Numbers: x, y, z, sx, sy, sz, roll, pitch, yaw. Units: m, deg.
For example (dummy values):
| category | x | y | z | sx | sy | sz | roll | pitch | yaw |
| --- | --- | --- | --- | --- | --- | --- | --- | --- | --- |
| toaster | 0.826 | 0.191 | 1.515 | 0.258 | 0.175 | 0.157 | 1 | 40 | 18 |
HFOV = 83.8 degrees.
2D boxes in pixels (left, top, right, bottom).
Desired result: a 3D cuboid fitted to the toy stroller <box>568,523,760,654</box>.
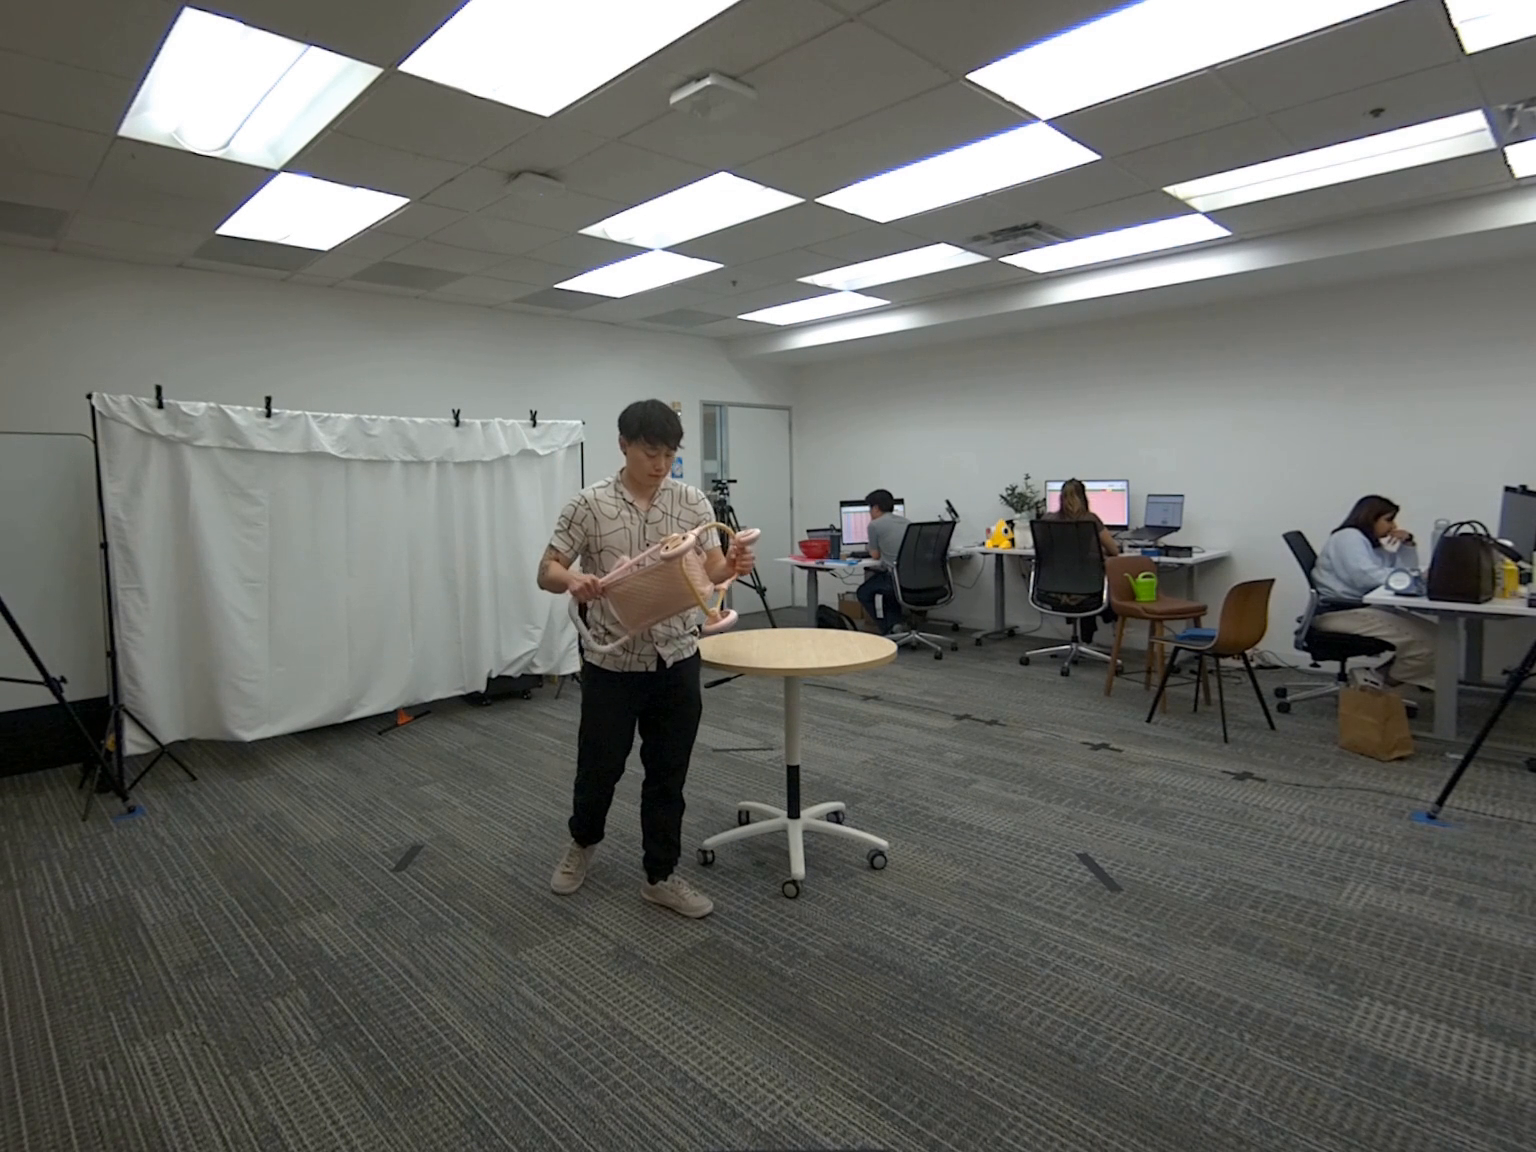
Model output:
| category | x | y | z | sx | sy | sz | roll | pitch | yaw |
| --- | --- | --- | --- | --- | --- | --- | --- | --- | --- |
| toy stroller | -0.284 | 0.017 | 2.509 | 0.543 | 0.275 | 0.344 | -19 | 24 | 29 |
